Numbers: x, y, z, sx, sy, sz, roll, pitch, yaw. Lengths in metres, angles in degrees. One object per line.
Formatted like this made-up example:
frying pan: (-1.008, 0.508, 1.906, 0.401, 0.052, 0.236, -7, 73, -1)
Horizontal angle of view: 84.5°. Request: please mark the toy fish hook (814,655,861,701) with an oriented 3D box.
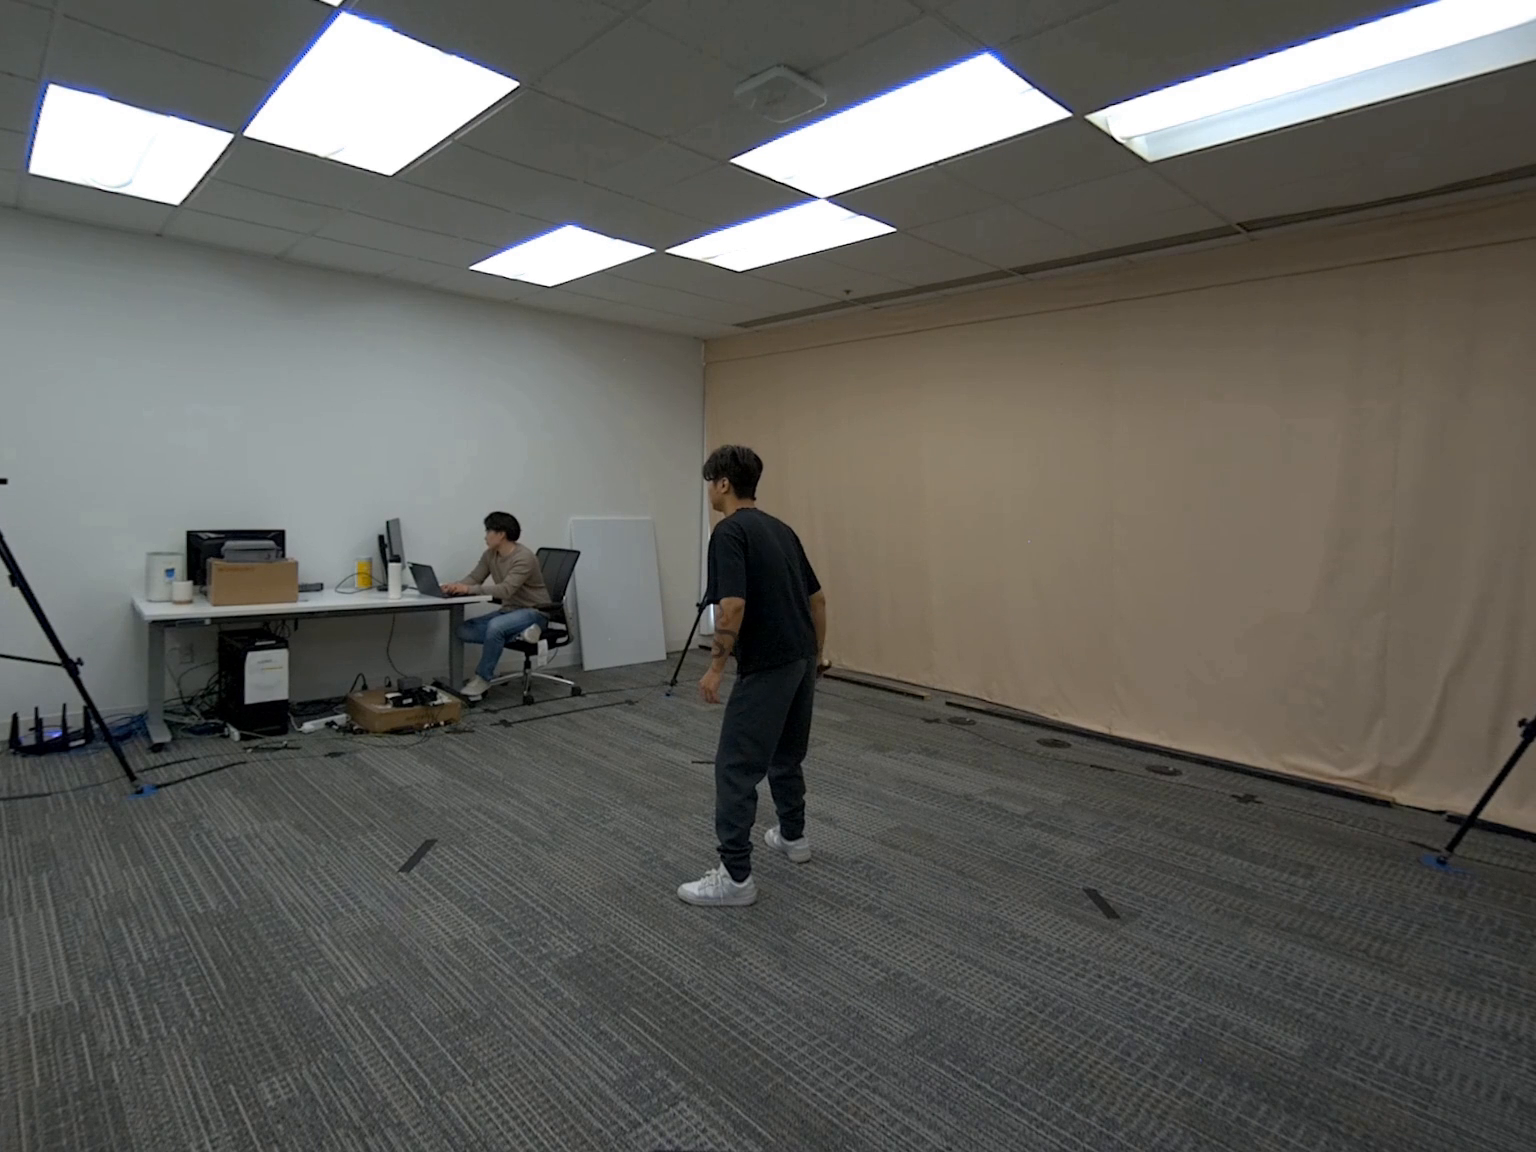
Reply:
toy fish hook: (0.118, 0.434, 3.404, 0.219, 0.049, 0.510, 24, -34, -26)
